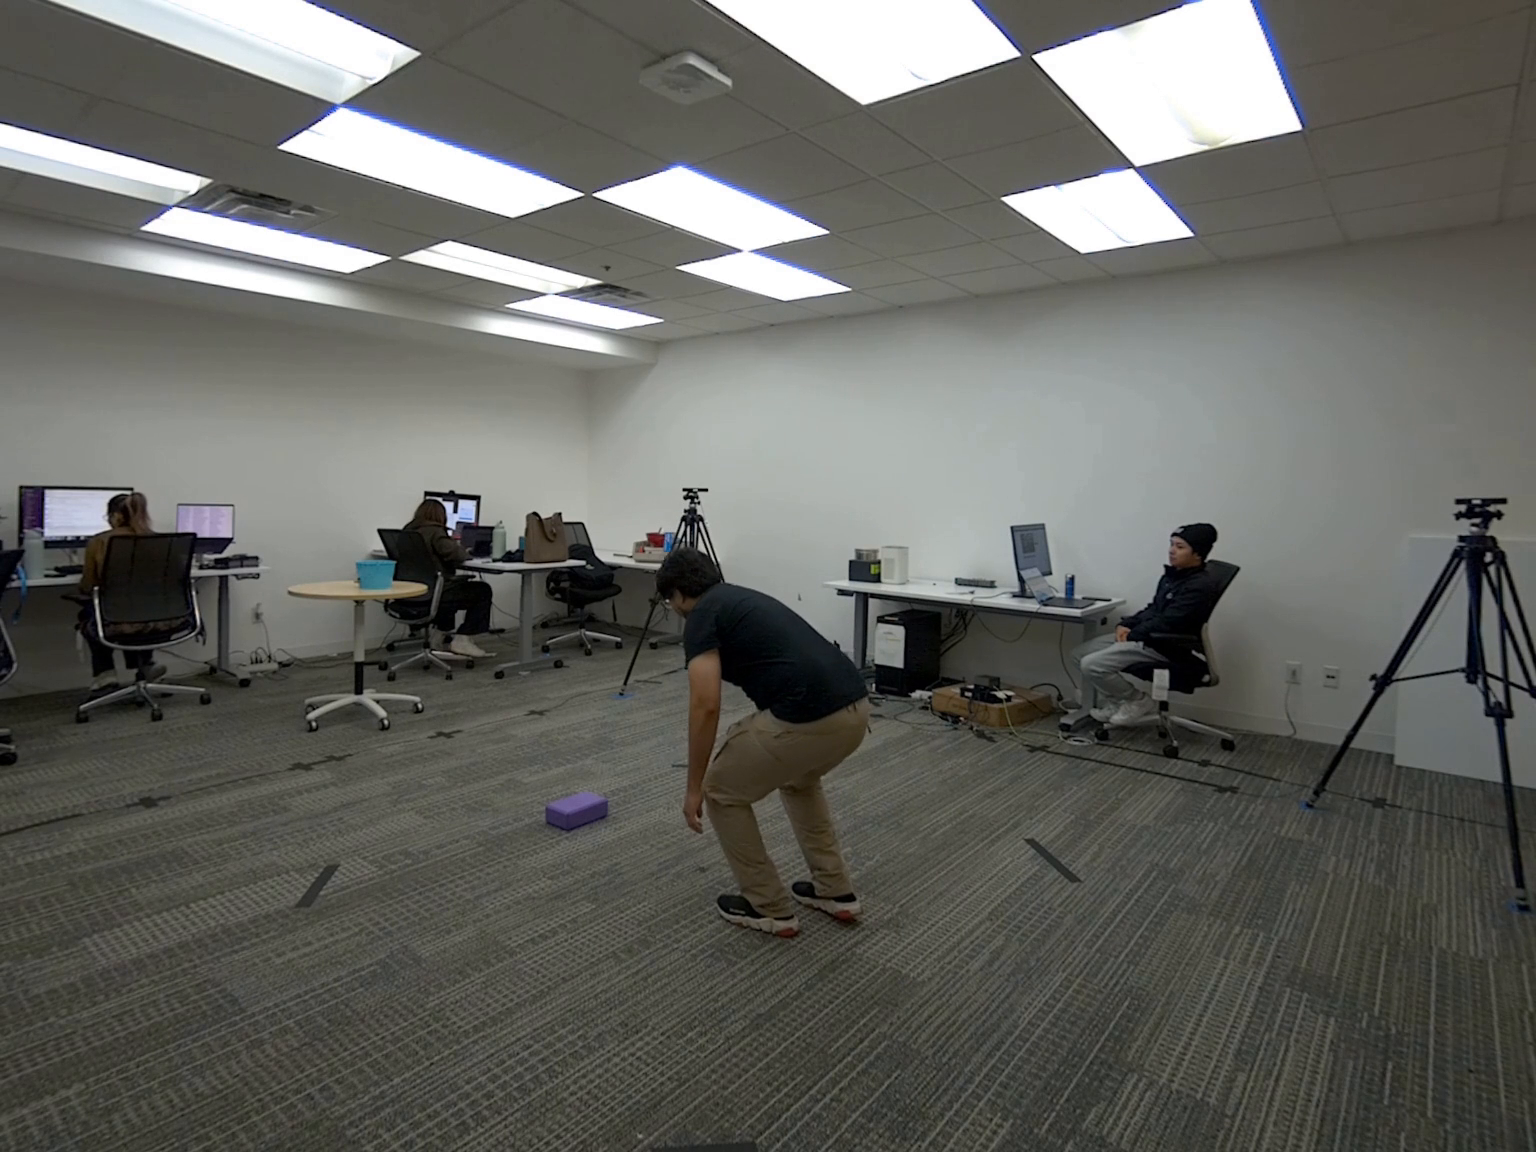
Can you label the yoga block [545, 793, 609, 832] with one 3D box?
[{"bbox_3d":[-0.813,0.977,3.559,0.154,0.076,0.222,5,6,38],"label":"yoga block"}]
